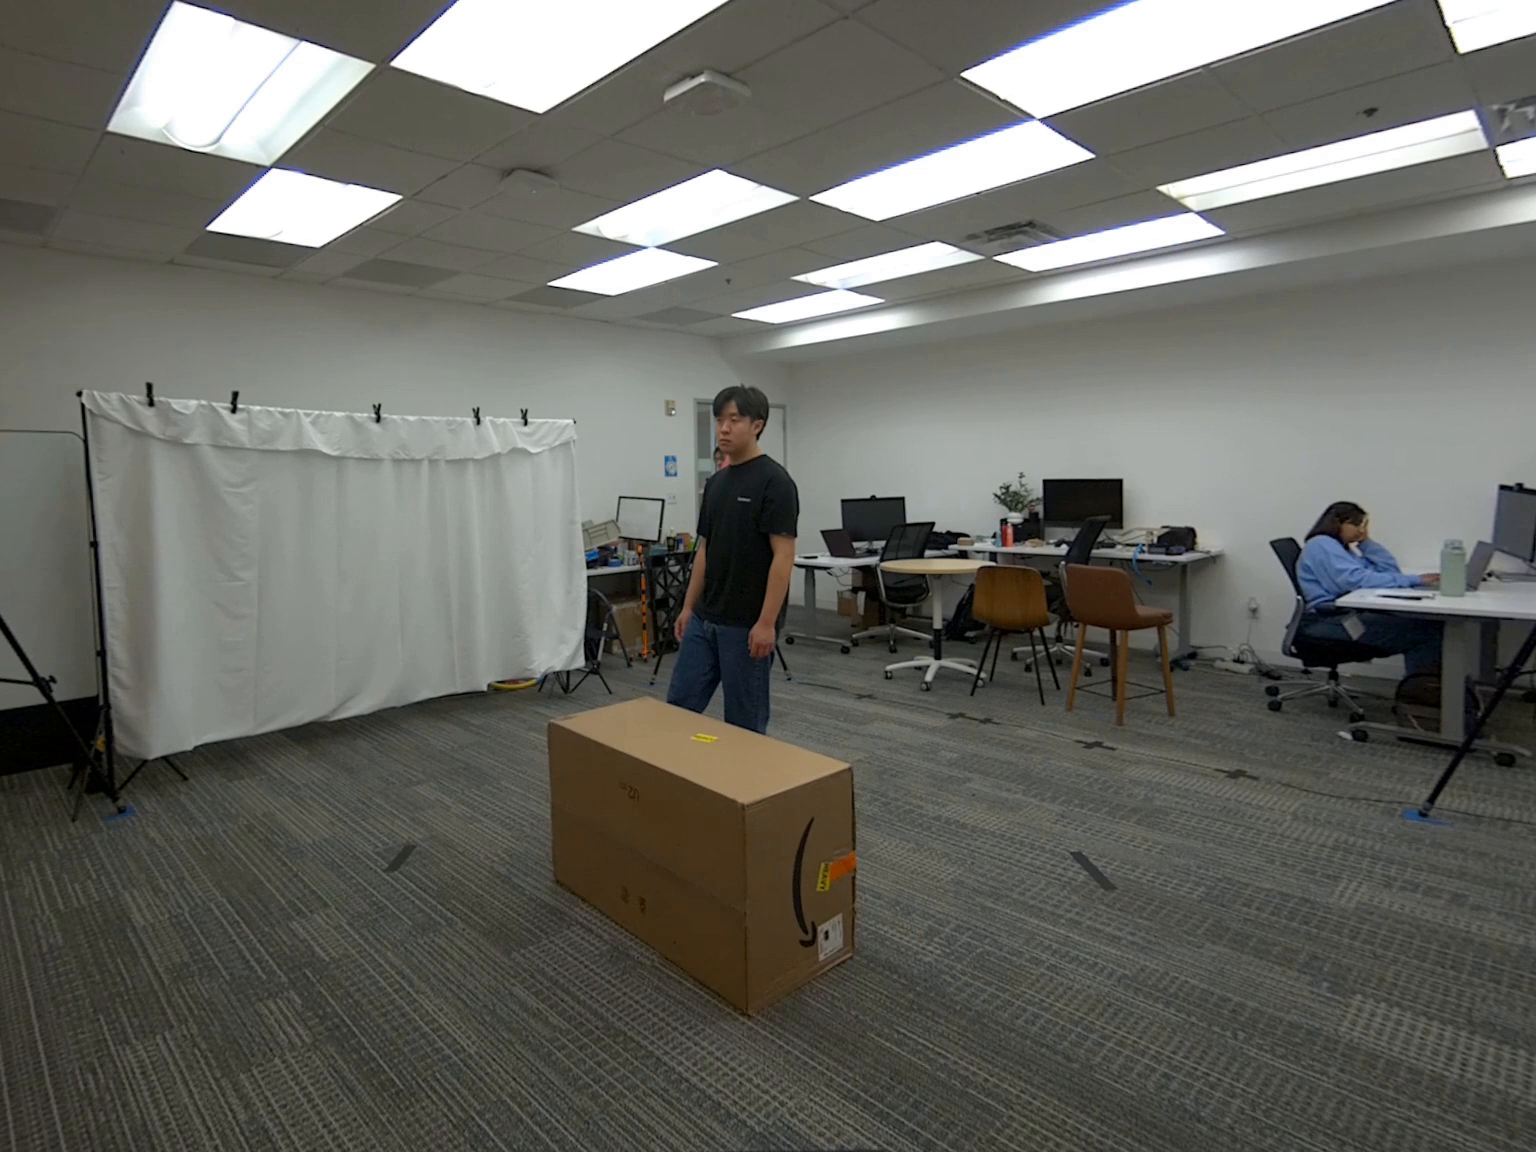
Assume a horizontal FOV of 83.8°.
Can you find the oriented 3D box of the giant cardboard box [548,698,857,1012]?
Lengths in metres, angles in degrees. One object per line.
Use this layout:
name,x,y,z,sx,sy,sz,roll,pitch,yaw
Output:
giant cardboard box,-0.248,0.804,2.723,0.435,0.581,1.059,-4,7,-42
